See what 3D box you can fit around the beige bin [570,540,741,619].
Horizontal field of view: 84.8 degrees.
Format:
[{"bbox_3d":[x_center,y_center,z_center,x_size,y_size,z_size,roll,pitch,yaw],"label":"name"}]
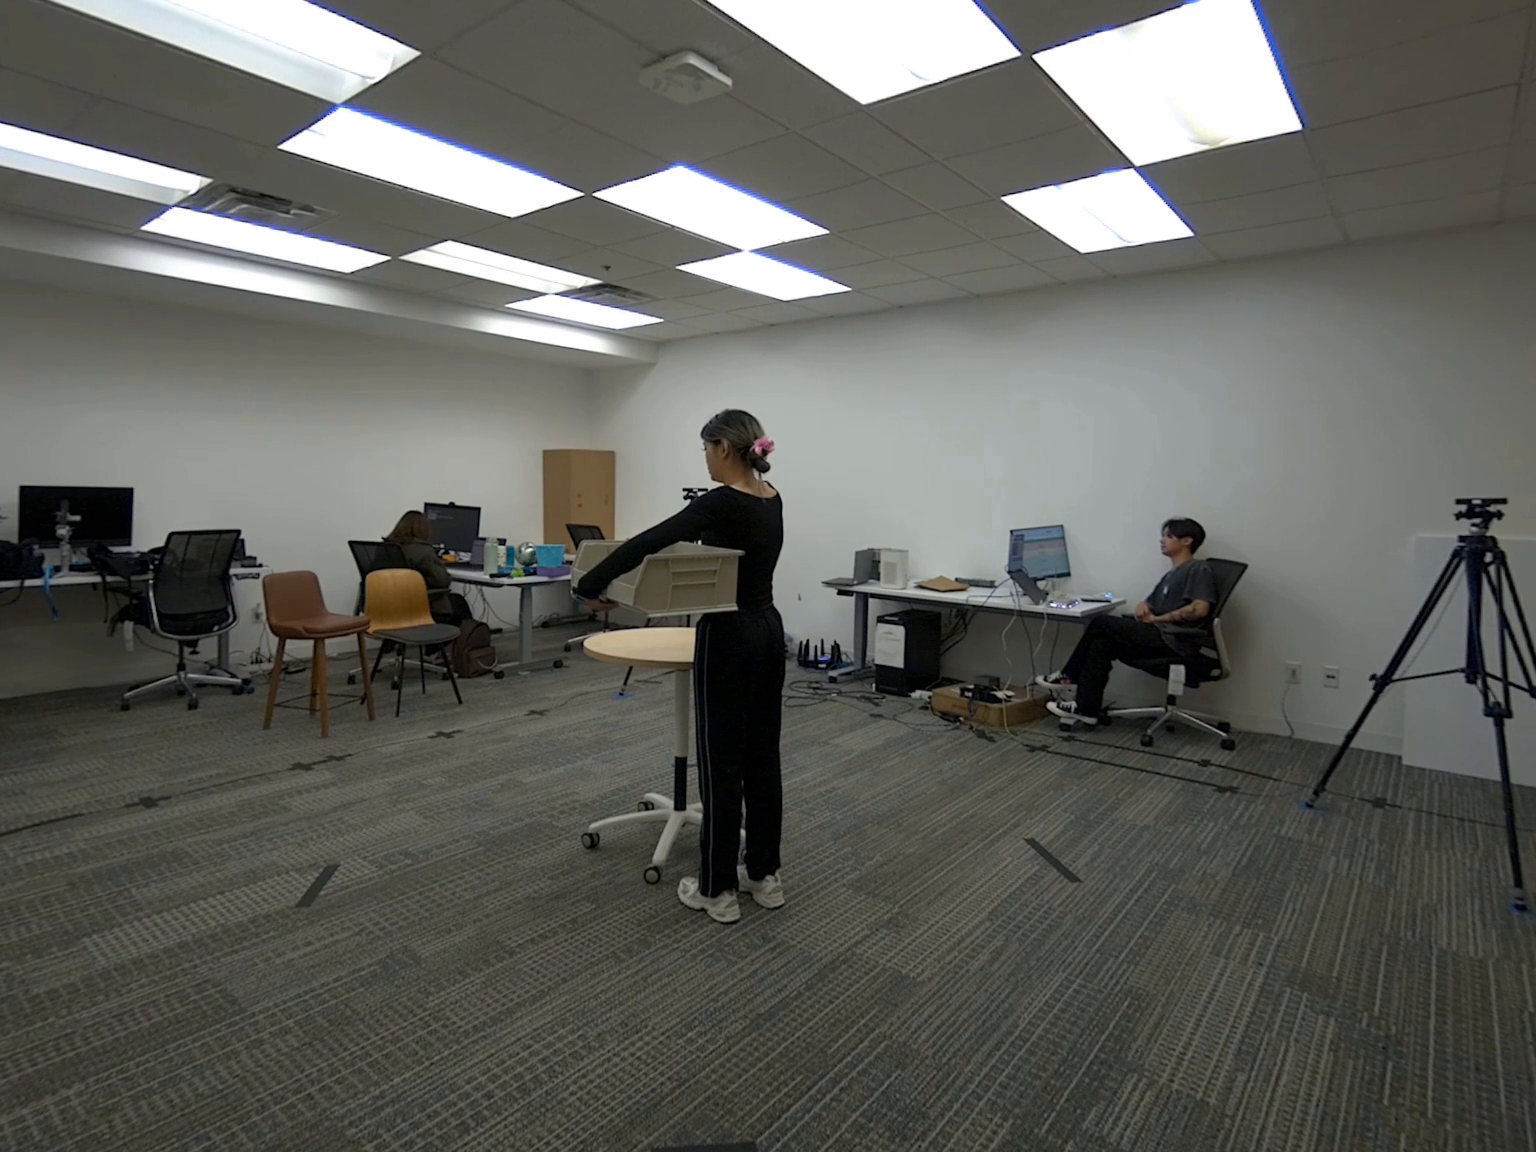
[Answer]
[{"bbox_3d":[-0.360,0.000,2.630,0.366,0.188,0.437,-1,7,-36],"label":"beige bin"}]
